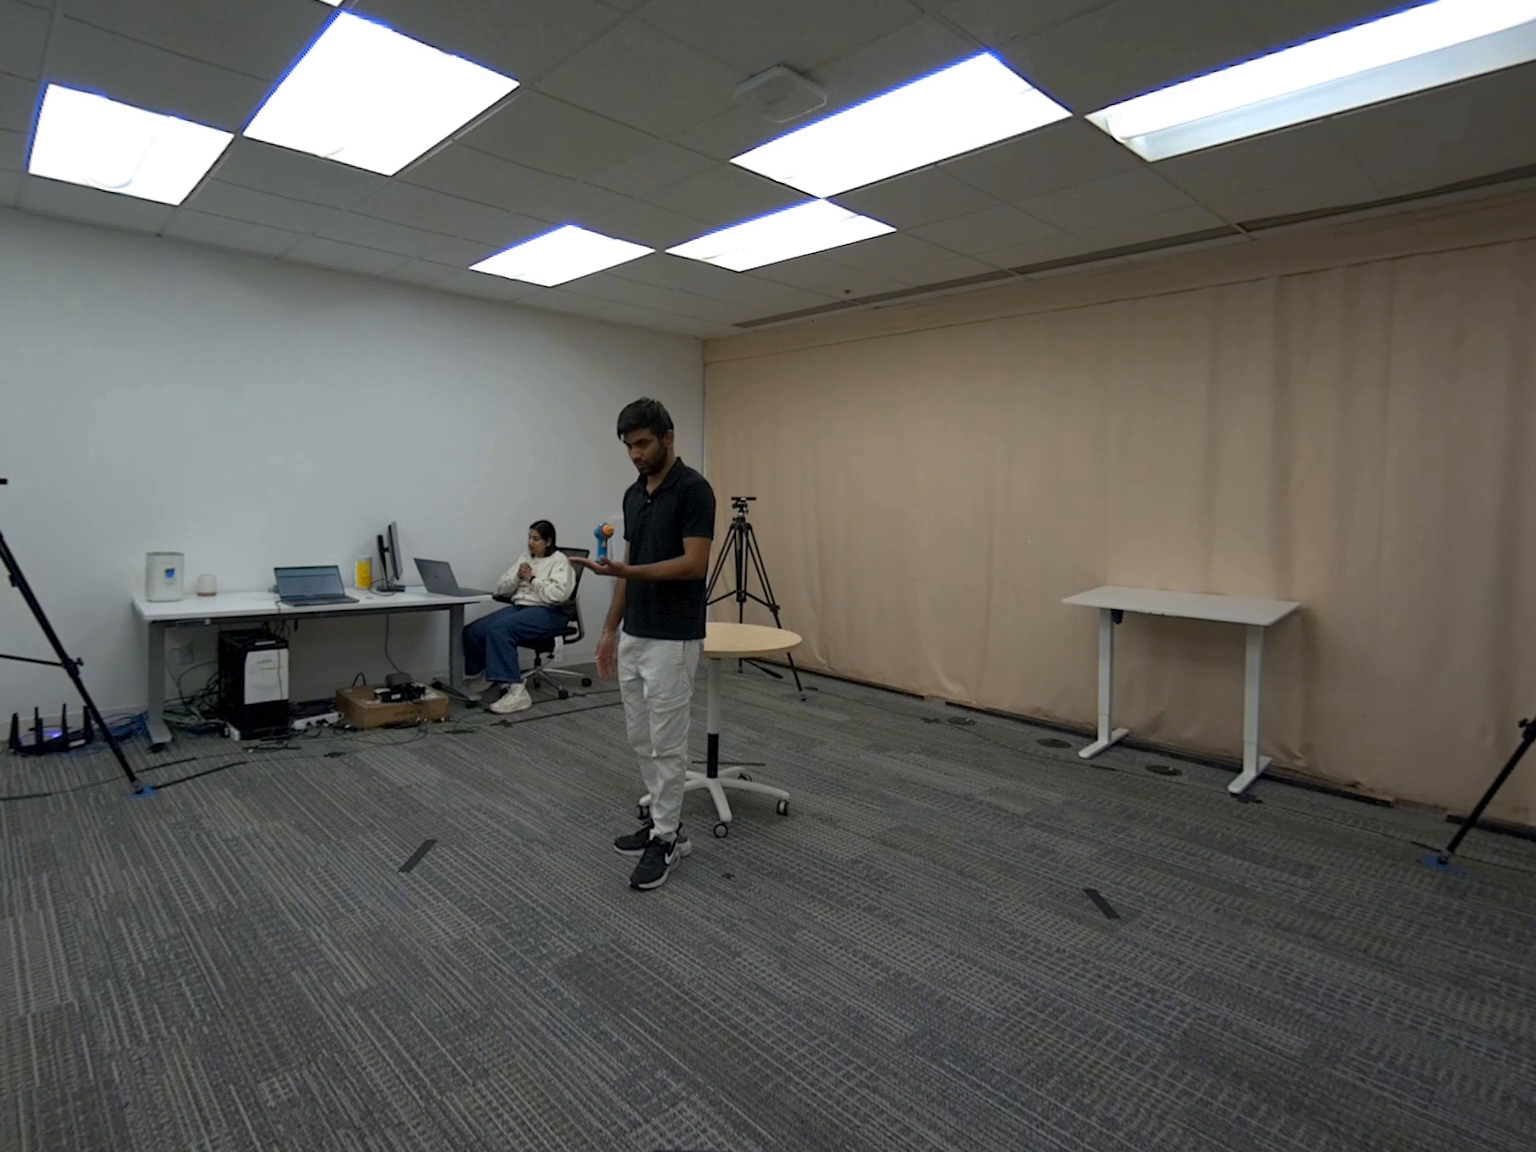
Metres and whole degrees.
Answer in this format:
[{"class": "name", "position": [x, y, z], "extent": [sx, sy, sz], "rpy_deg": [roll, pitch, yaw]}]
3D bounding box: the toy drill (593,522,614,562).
[{"class": "toy drill", "position": [-0.555, -0.113, 2.859], "extent": [0.060, 0.146, 0.172], "rpy_deg": [3, -5, -26]}]
